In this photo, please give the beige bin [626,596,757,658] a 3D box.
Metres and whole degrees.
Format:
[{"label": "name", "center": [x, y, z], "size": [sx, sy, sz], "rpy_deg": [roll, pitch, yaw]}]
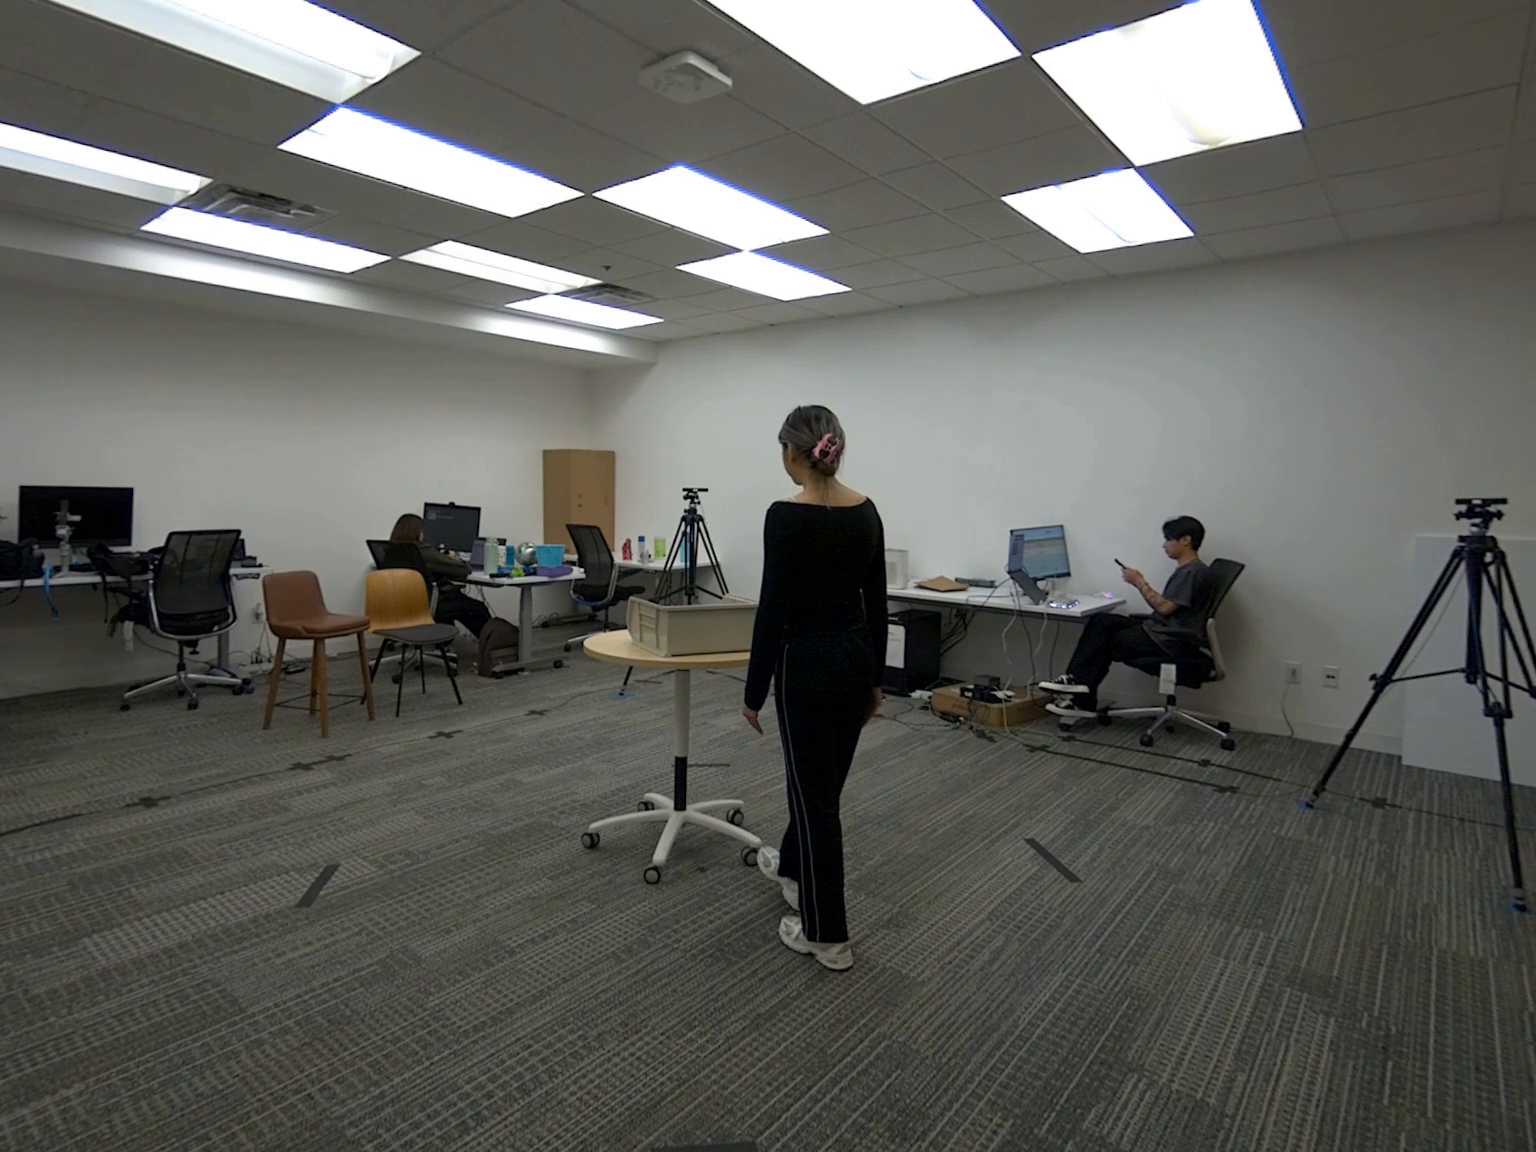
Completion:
[{"label": "beige bin", "center": [-0.286, 0.174, 3.216], "size": [0.411, 0.188, 0.389], "rpy_deg": [-1, 6, -28]}]
